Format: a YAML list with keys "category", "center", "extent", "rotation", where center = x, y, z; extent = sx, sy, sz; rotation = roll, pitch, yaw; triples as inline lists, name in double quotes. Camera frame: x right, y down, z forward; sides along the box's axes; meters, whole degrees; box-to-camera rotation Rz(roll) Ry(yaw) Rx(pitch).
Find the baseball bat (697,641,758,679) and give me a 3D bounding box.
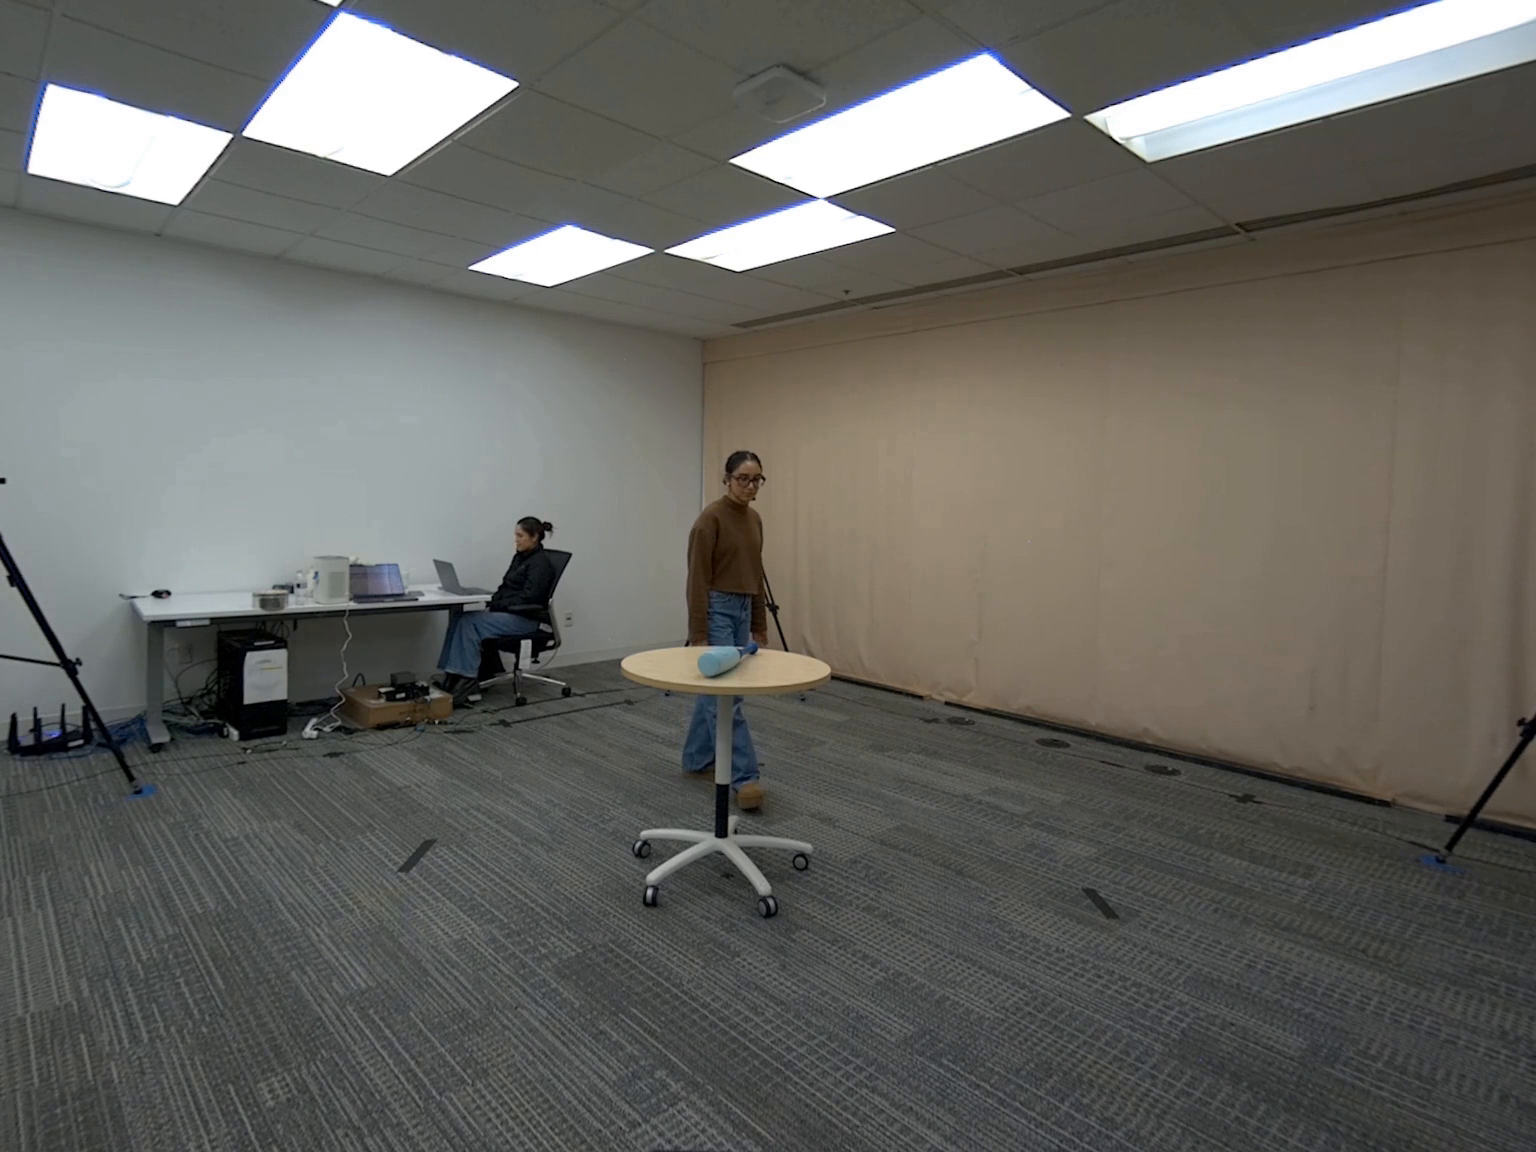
- category: "baseball bat"
  center: [-0.142, 0.294, 3.065]
  extent: [0.090, 0.089, 0.536]
  rotation: [2, 1, 13]
